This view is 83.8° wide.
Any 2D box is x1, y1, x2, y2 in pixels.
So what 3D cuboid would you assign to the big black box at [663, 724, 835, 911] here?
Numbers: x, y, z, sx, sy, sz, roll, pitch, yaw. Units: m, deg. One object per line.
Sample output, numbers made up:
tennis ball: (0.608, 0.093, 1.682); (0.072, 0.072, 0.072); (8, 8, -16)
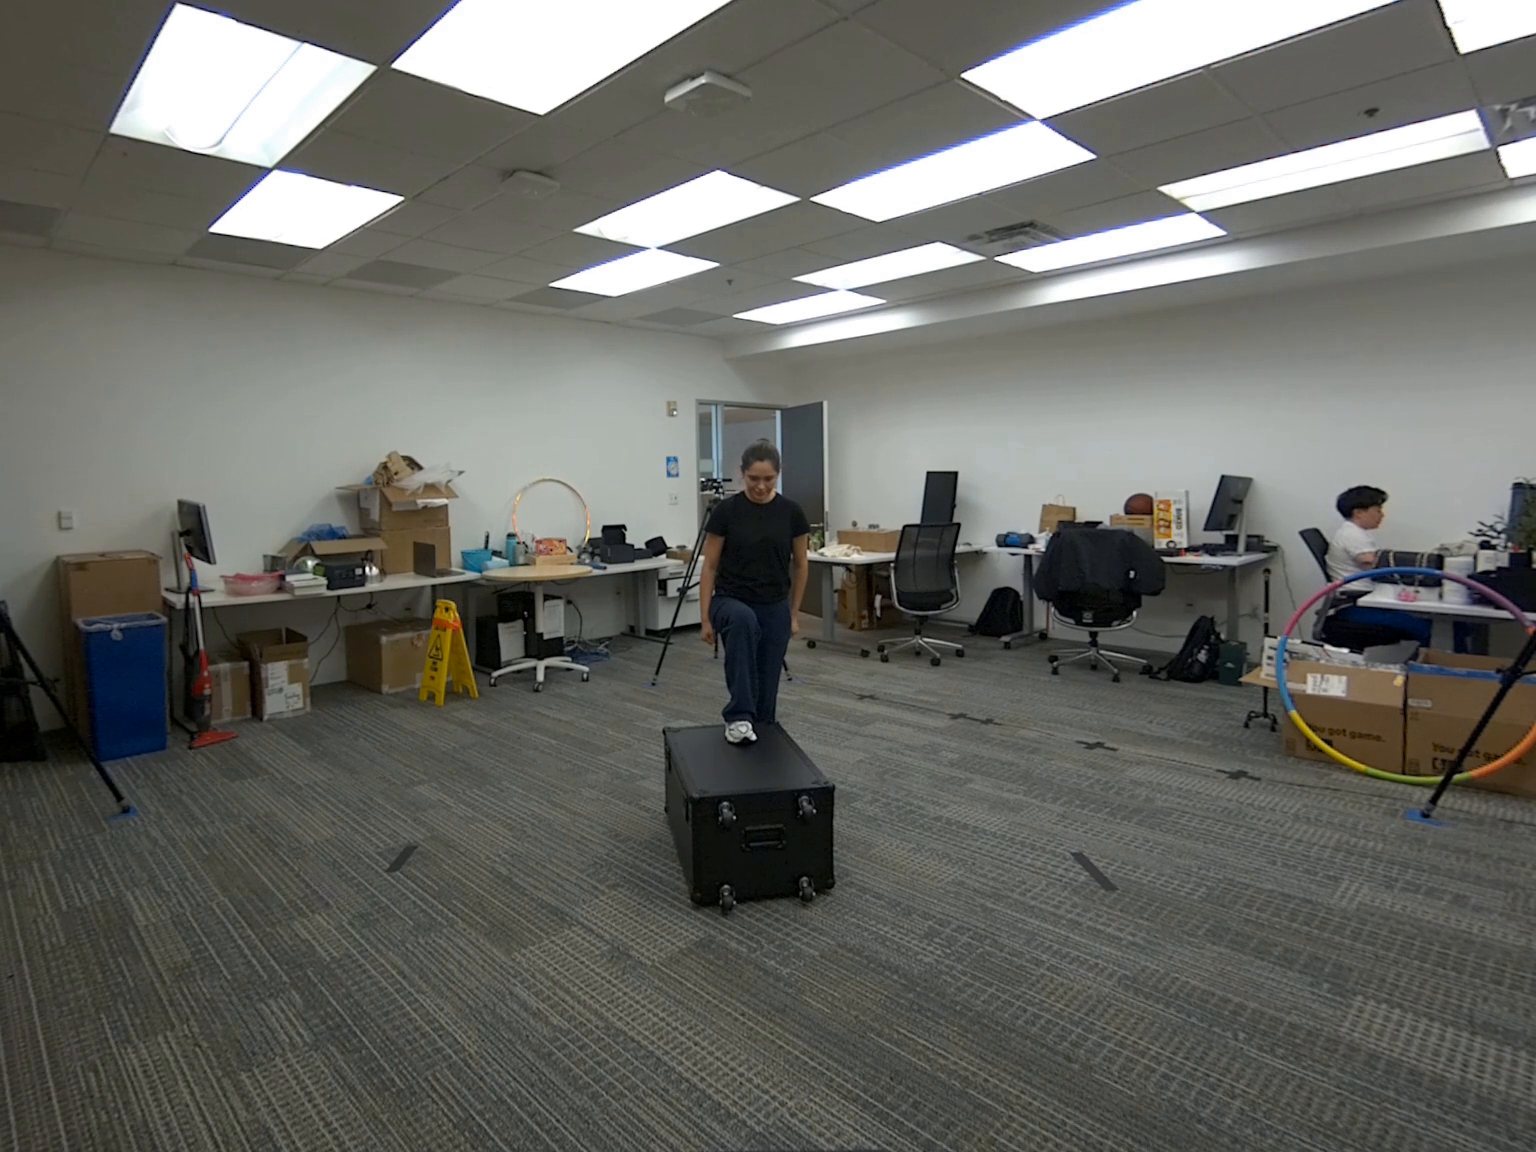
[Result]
big black box: (-0.098, 0.843, 3.165); (0.515, 0.394, 0.875); (-2, 6, -13)
